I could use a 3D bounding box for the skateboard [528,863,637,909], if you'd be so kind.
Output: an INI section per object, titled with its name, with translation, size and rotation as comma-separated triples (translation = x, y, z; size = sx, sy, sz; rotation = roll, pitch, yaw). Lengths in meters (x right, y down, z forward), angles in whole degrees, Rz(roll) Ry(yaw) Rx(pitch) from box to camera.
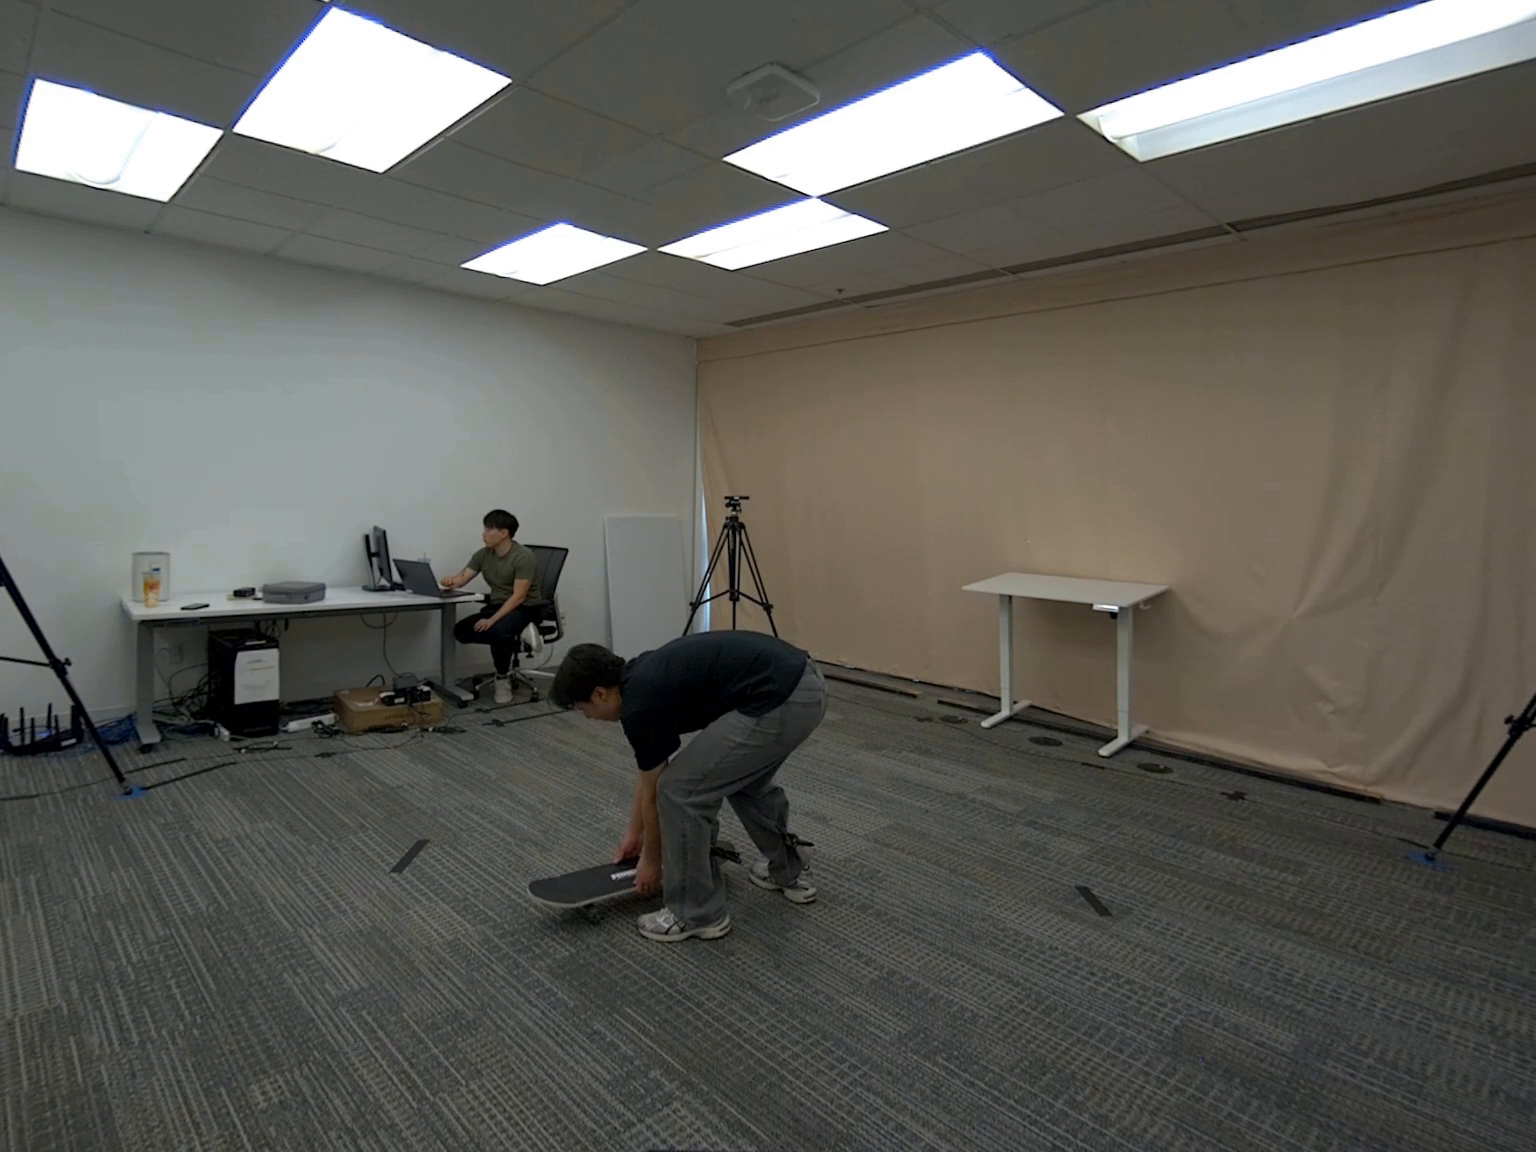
[skateboard]
translation = -0.456, 1.045, 2.897
size = 0.768, 0.110, 0.198
rotation = -1, 7, -36
